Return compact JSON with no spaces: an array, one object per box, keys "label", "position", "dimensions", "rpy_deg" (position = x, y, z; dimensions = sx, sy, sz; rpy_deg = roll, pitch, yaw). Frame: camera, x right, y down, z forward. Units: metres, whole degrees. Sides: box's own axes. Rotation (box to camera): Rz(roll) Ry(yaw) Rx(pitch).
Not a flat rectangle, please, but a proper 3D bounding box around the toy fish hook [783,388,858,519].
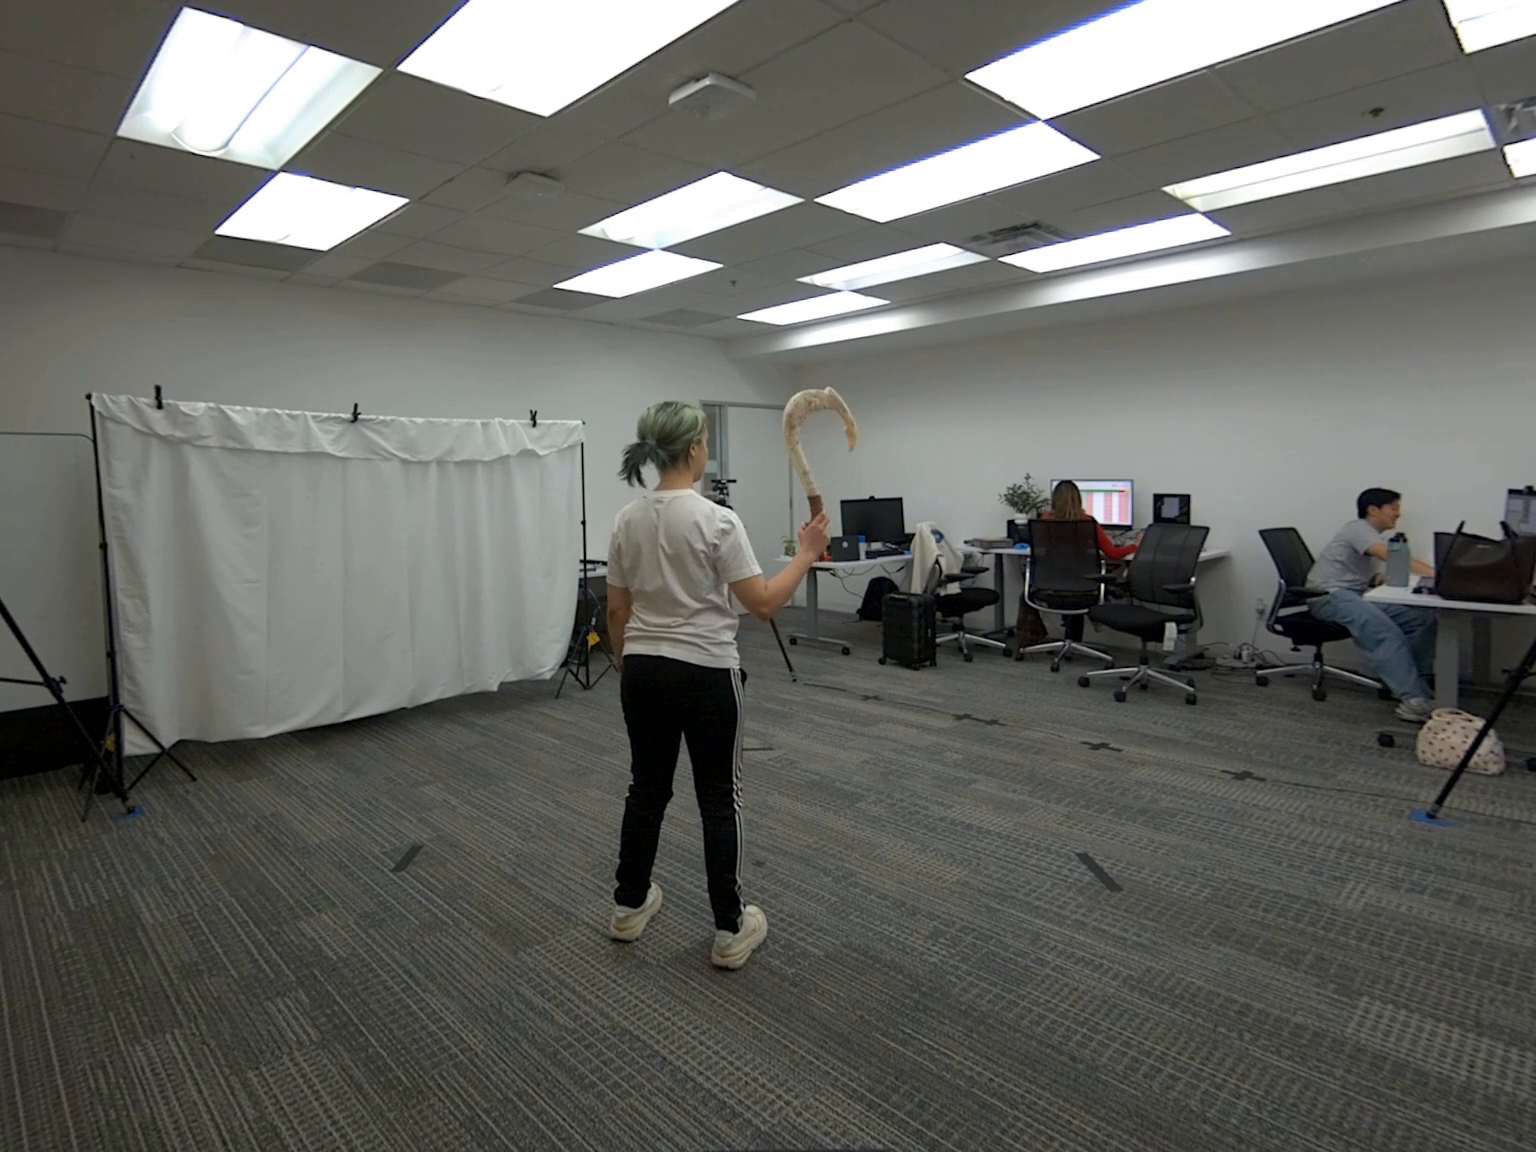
[{"label":"toy fish hook","position":[0.183,-0.300,2.540],"dimensions":[0.223,0.503,0.049],"rpy_deg":[-12,6,-5]}]
